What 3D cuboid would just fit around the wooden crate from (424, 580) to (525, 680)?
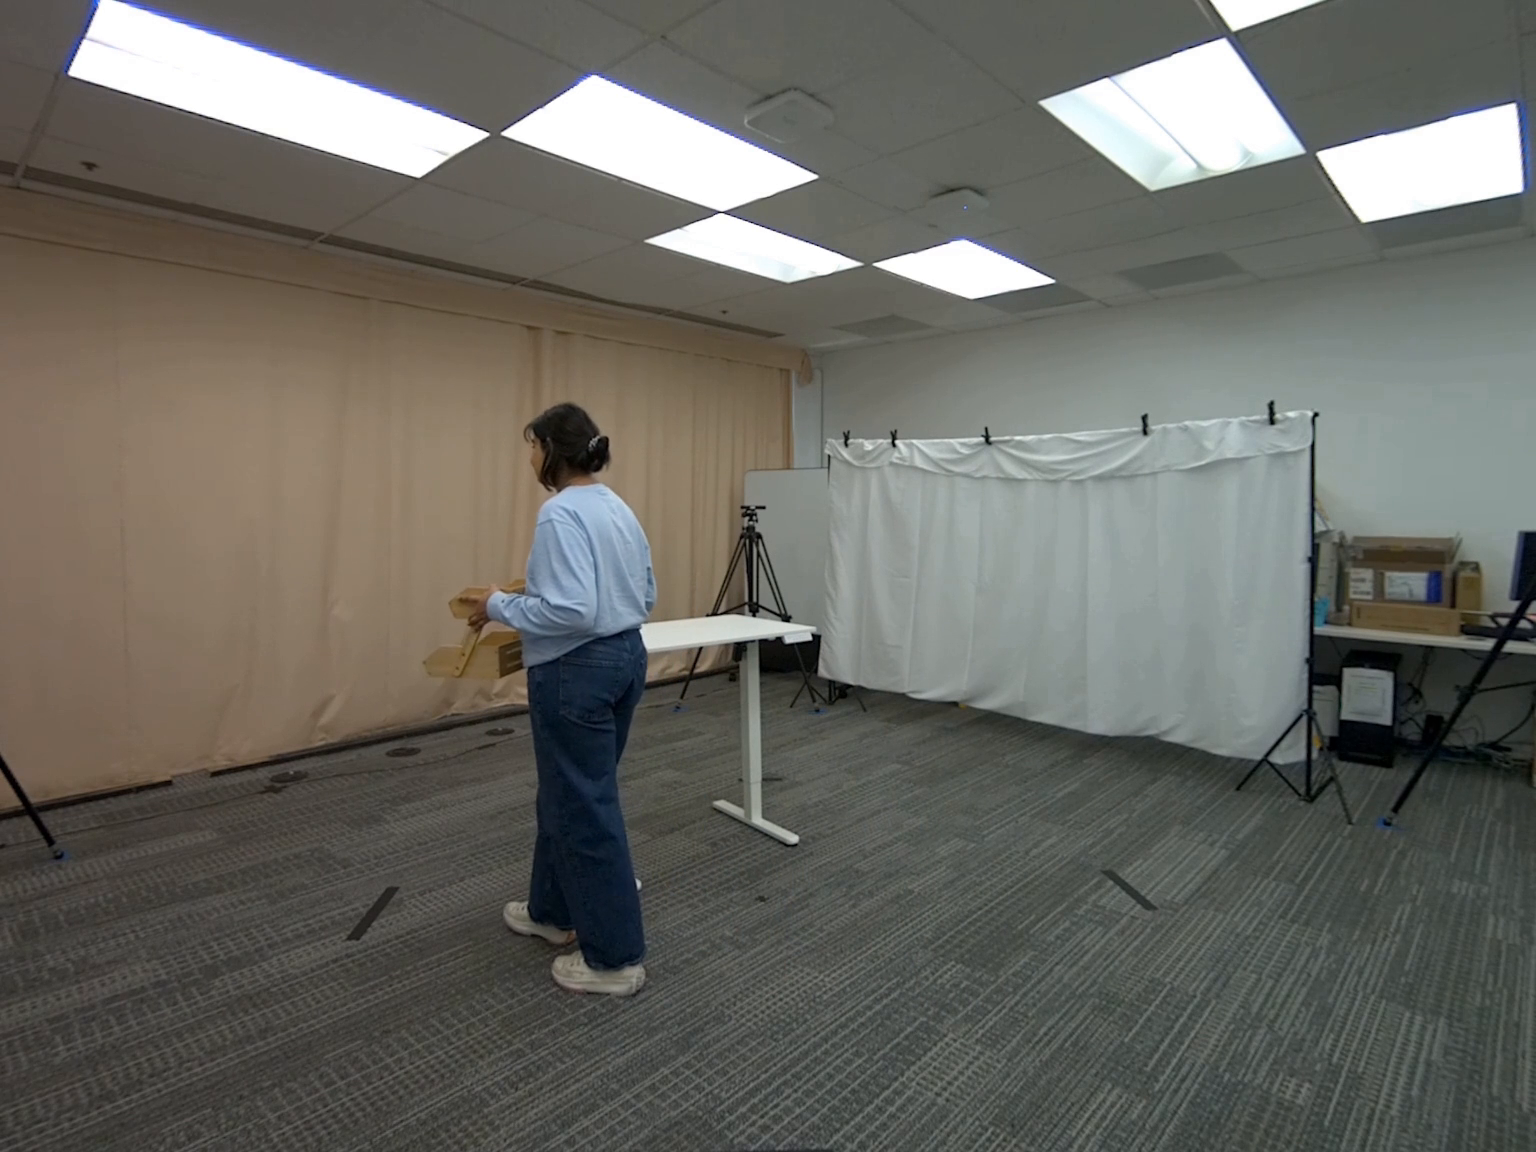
[{"bbox_3d":[-0.831,0.148,2.556,0.305,0.272,0.322,0,5,10],"label":"wooden crate"}]
